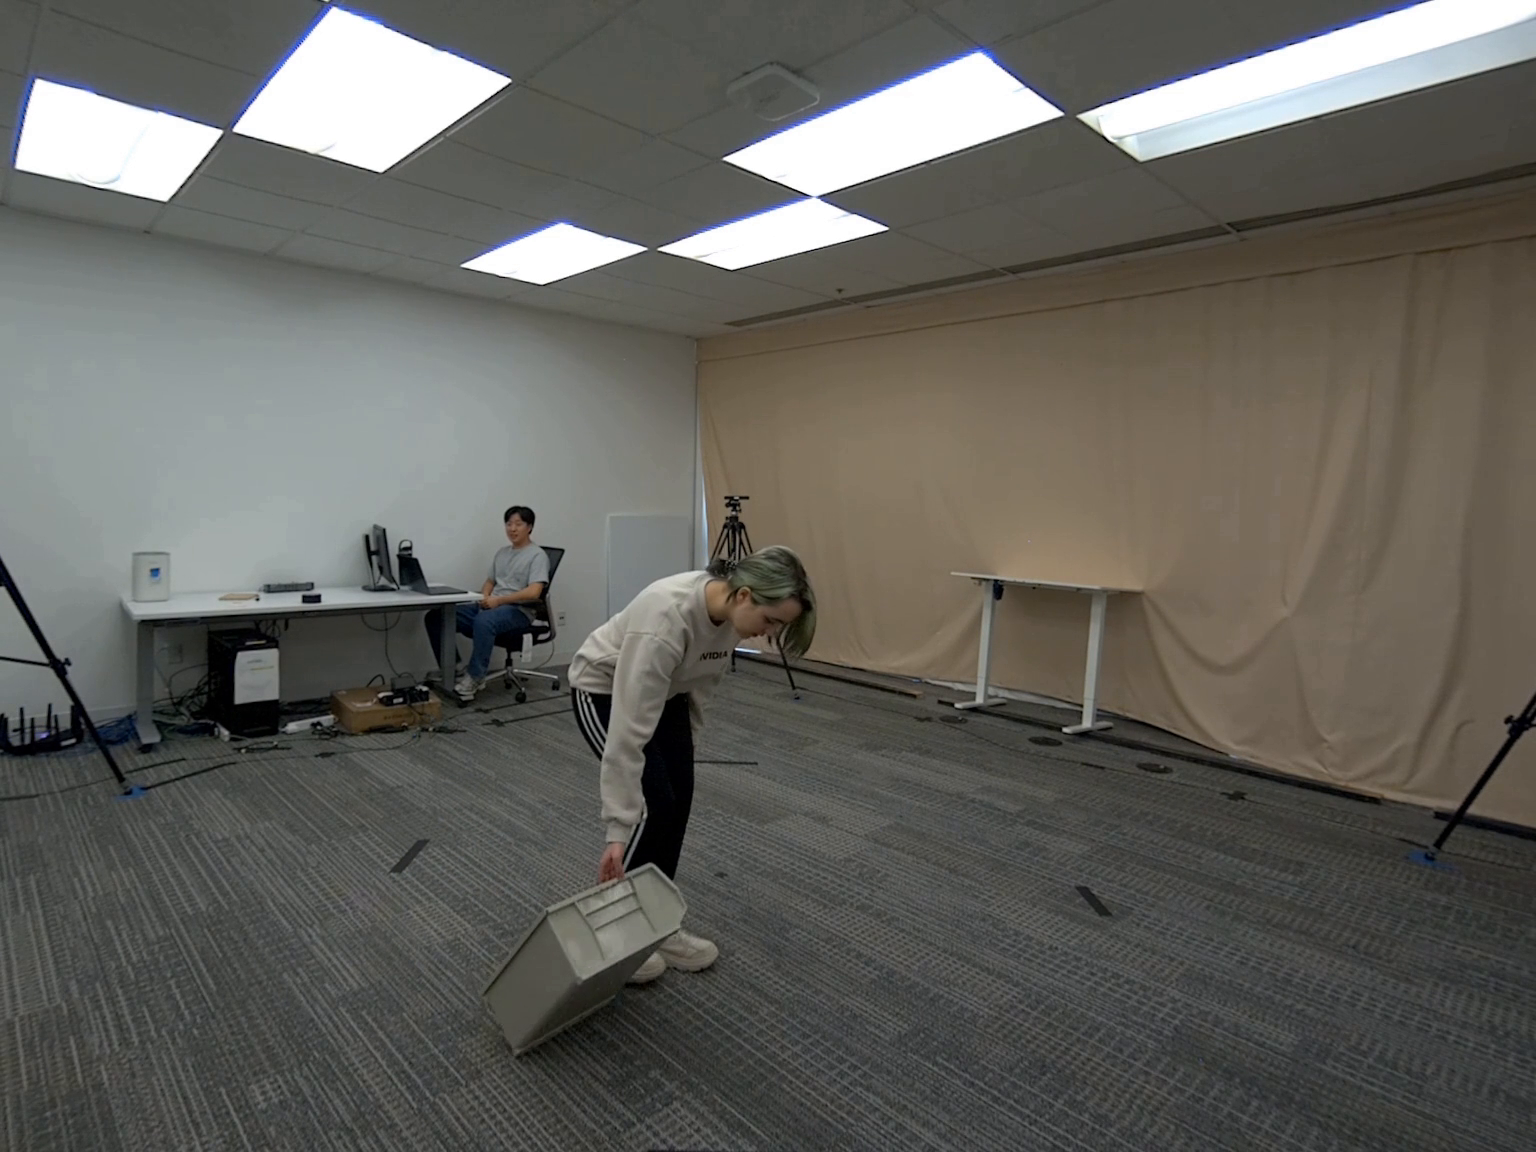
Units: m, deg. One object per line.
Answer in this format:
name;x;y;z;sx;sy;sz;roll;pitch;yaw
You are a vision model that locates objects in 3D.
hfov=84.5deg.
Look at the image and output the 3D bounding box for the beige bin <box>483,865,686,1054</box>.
beige bin;-0.465;0.971;2.135;0.369;0.421;0.193;-6;51;-51
